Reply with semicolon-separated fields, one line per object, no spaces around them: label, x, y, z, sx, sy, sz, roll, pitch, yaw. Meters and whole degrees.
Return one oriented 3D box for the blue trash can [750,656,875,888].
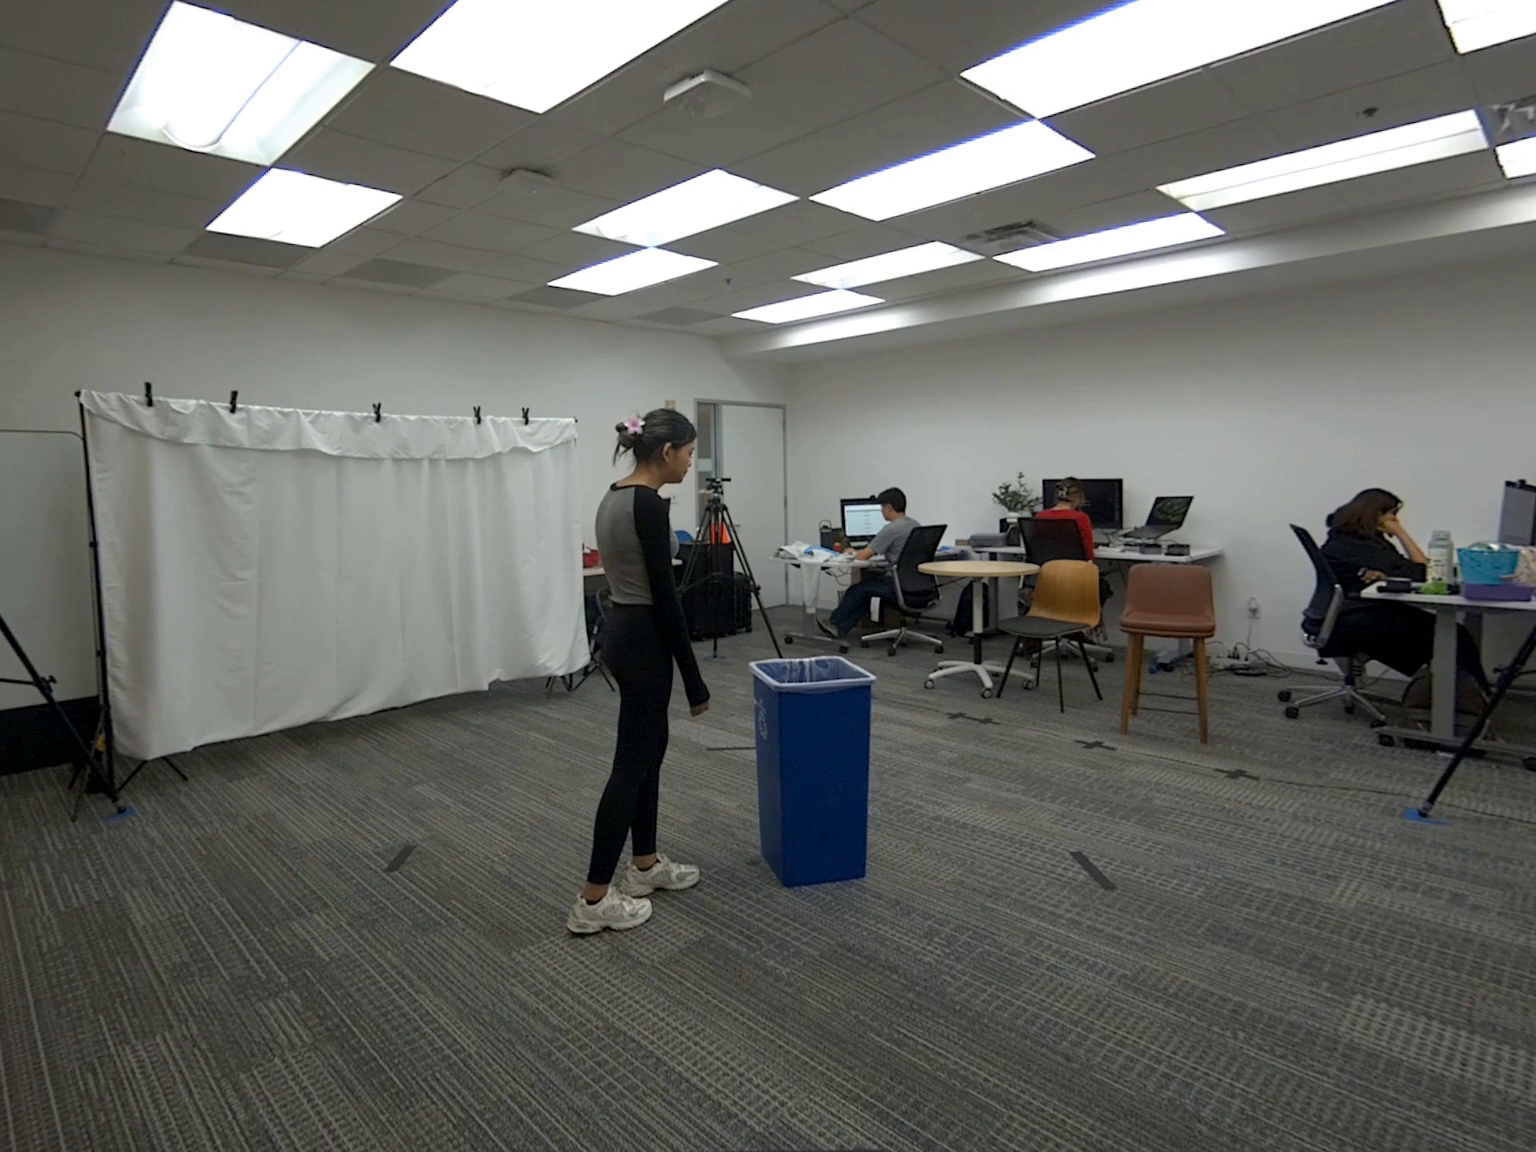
blue trash can;0.161;0.686;3.060;0.373;0.711;0.381;-2;5;-15
